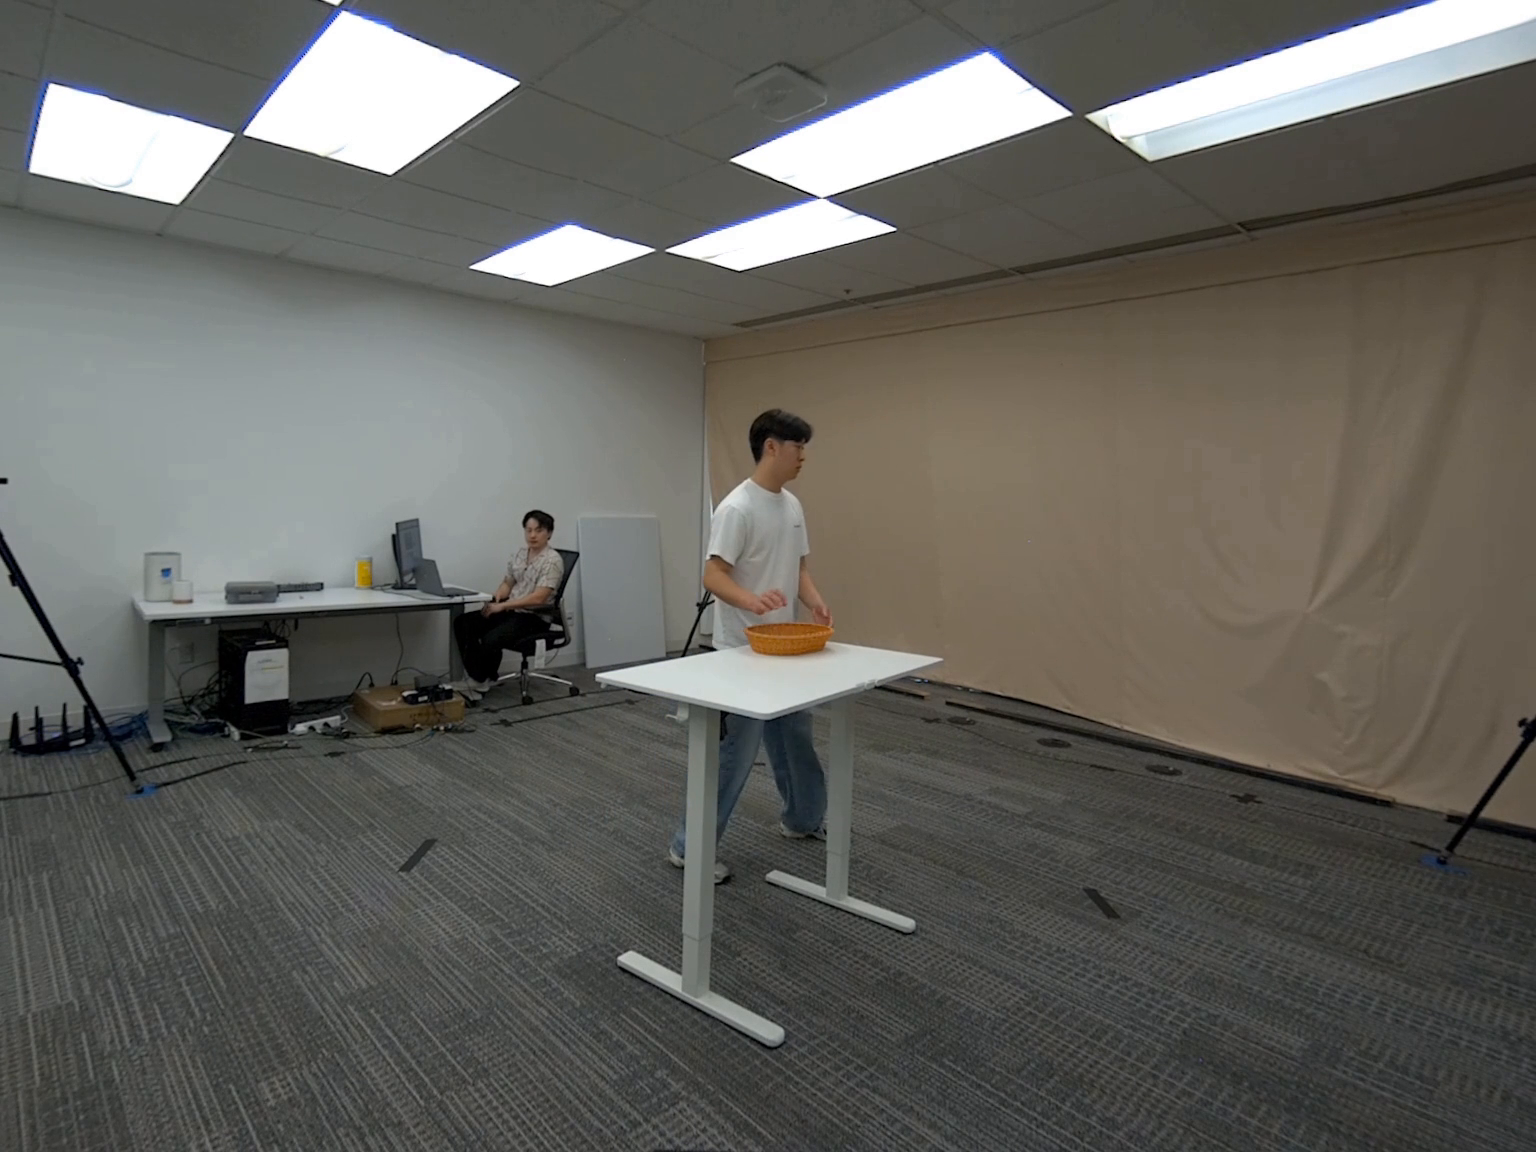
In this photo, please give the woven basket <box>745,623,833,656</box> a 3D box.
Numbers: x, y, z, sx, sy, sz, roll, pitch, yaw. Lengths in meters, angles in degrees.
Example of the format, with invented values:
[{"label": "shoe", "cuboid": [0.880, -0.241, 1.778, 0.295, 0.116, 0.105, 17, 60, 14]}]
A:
[{"label": "woven basket", "cuboid": [0.055, 0.223, 2.864, 0.259, 0.073, 0.342, 7, 7, 41]}]
